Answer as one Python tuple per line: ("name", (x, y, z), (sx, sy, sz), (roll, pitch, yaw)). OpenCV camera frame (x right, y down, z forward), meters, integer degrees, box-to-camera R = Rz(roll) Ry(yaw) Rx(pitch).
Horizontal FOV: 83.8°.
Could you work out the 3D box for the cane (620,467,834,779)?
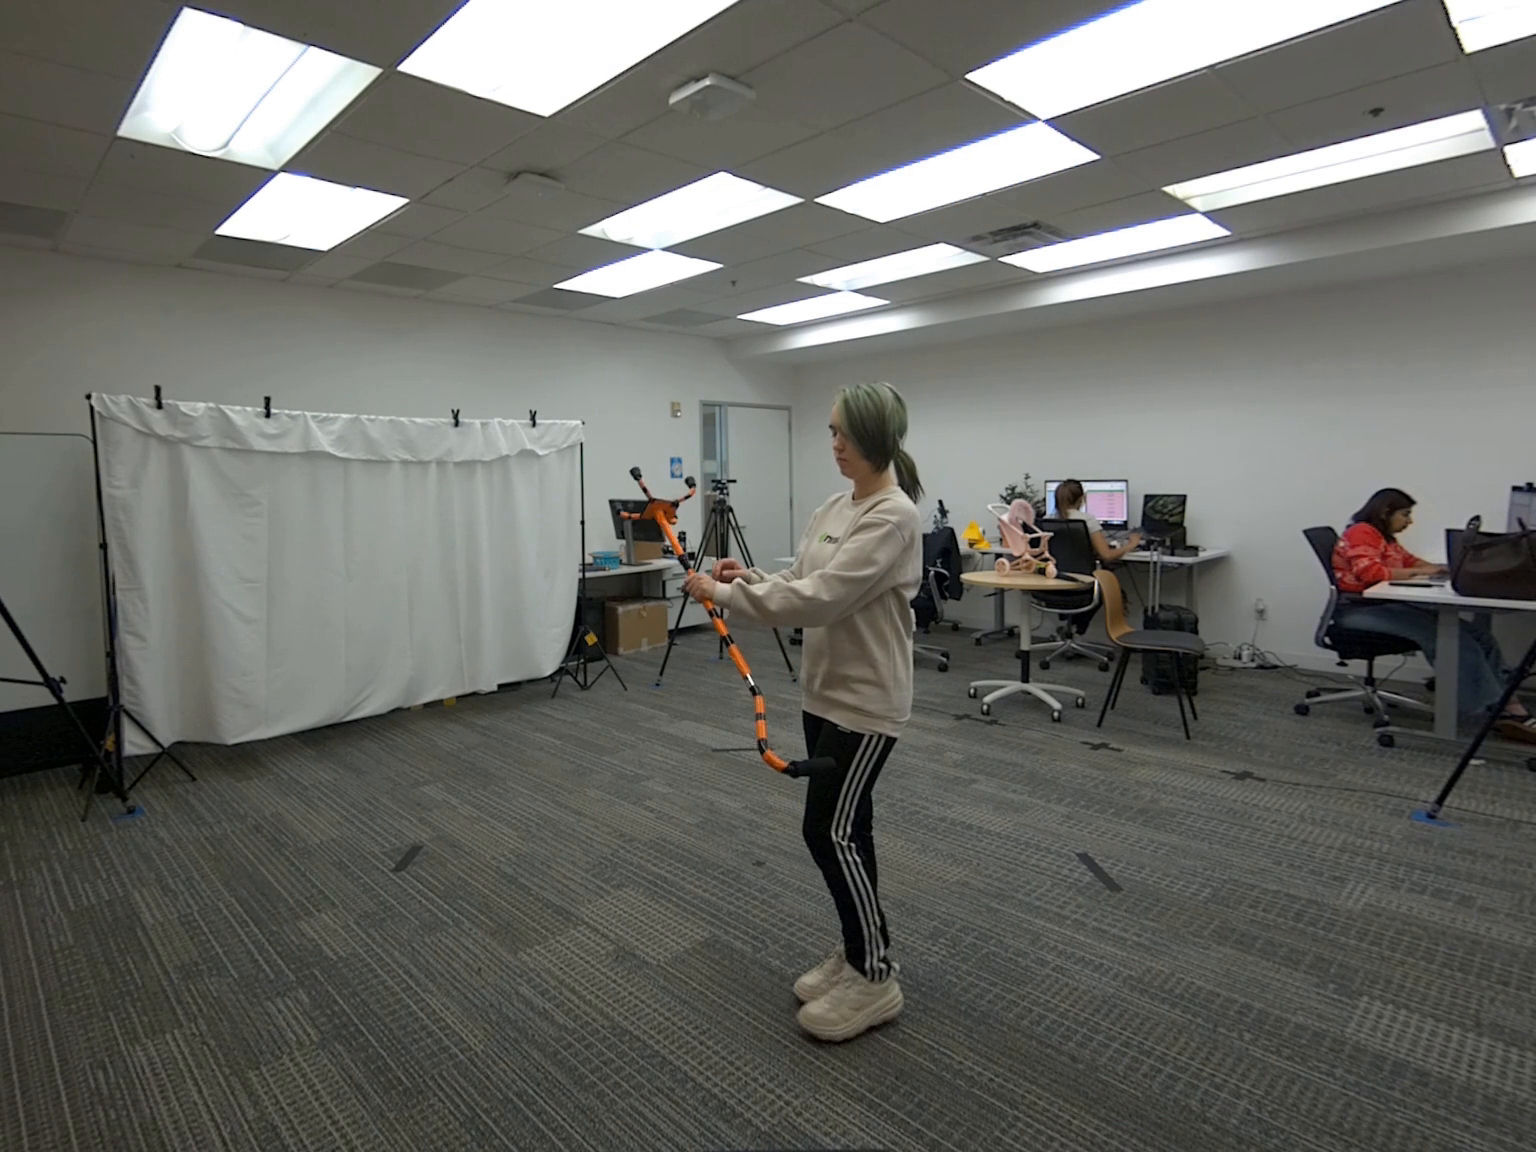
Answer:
("cane", (-0.111, 0.091, 2.043), (0.200, 0.151, 0.942), (8, 38, -40))
